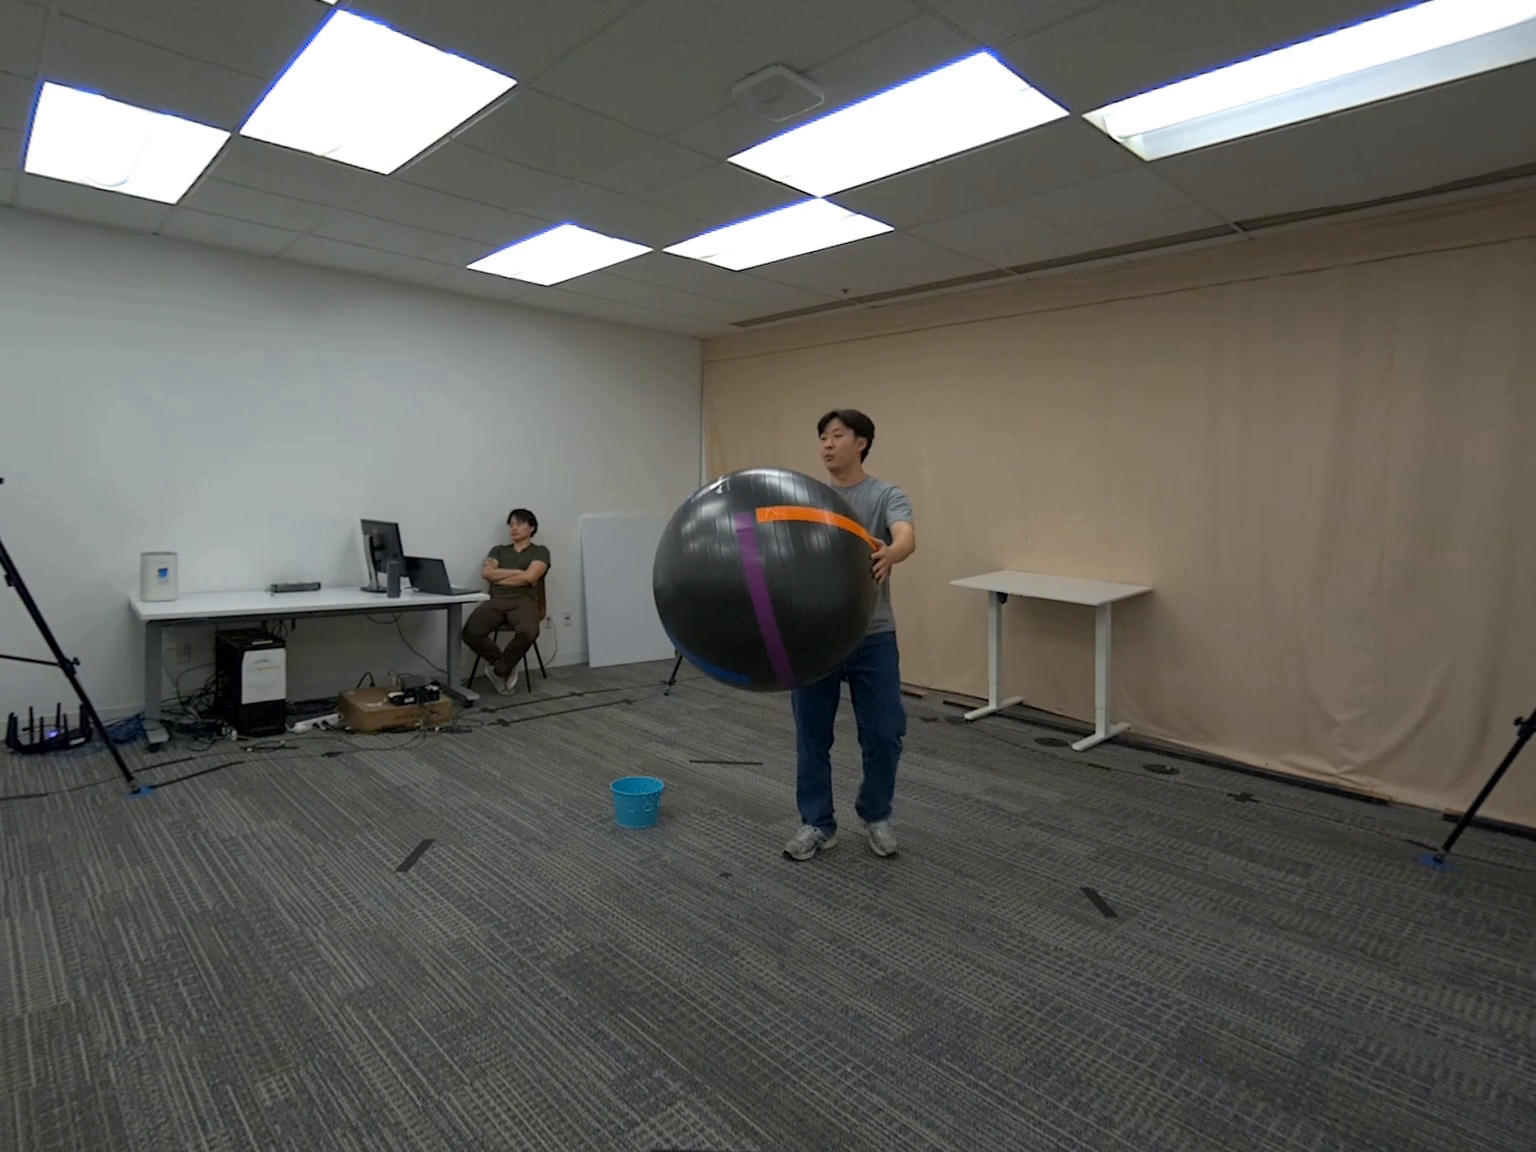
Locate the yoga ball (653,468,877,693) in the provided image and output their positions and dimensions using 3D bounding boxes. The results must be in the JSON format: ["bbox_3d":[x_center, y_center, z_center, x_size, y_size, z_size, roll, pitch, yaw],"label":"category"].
[{"bbox_3d":[-0.007,0.015,2.845,0.757,0.756,0.761,1,4,-1],"label":"yoga ball"}]
